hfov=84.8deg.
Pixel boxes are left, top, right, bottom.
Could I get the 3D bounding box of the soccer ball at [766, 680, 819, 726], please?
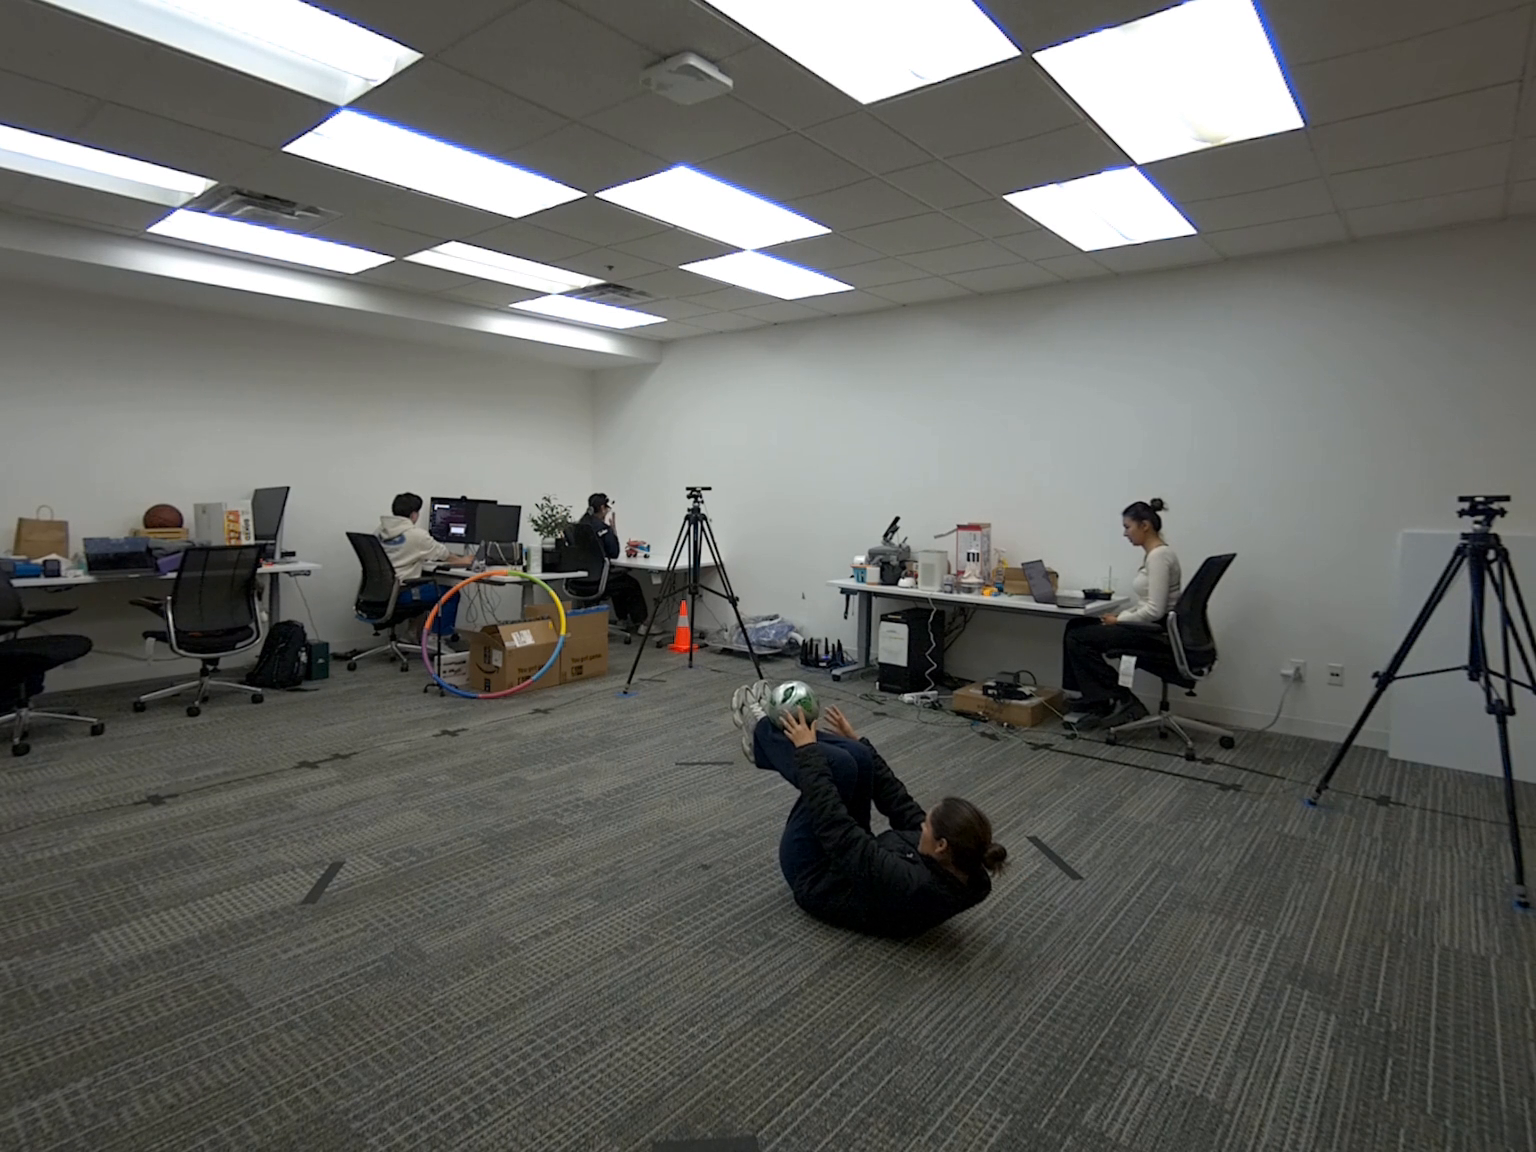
[{"bbox_3d":[0.082,0.465,3.029,0.187,0.187,0.188,-3,3,-2],"label":"soccer ball"}]
